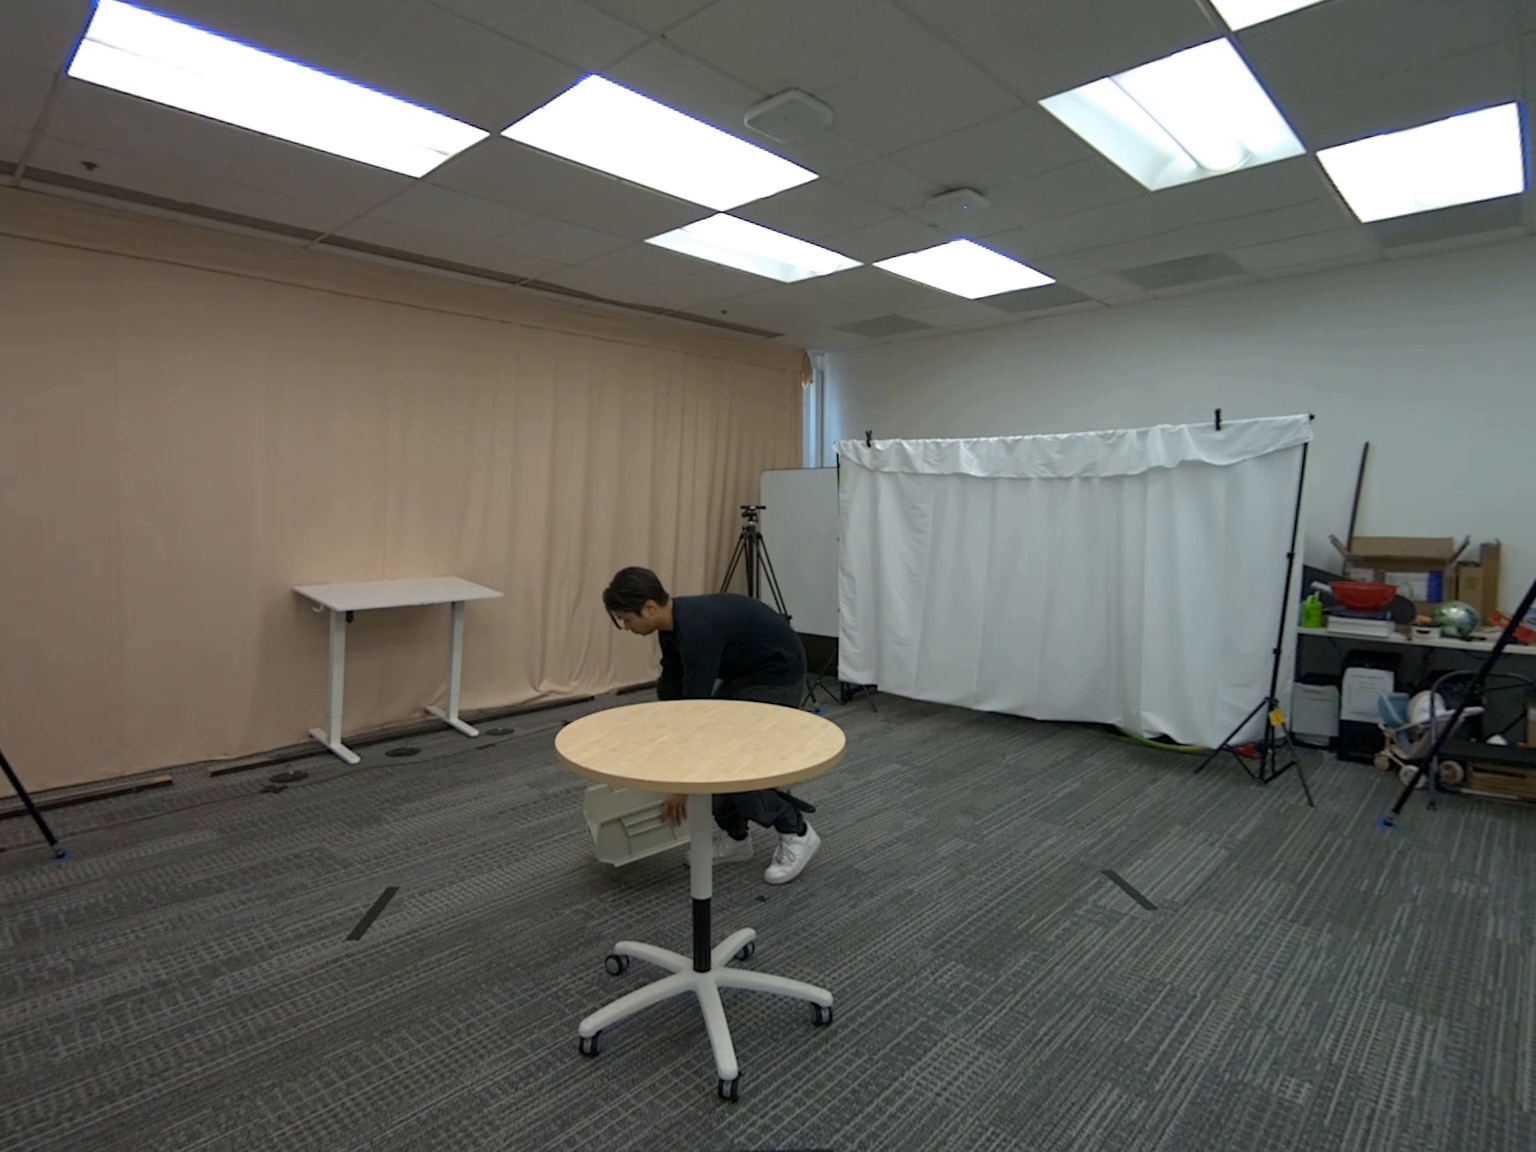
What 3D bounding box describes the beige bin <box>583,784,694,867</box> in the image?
[{"bbox_3d":[-0.493,0.904,3.182,0.372,0.188,0.429,-14,4,-16],"label":"beige bin"}]
